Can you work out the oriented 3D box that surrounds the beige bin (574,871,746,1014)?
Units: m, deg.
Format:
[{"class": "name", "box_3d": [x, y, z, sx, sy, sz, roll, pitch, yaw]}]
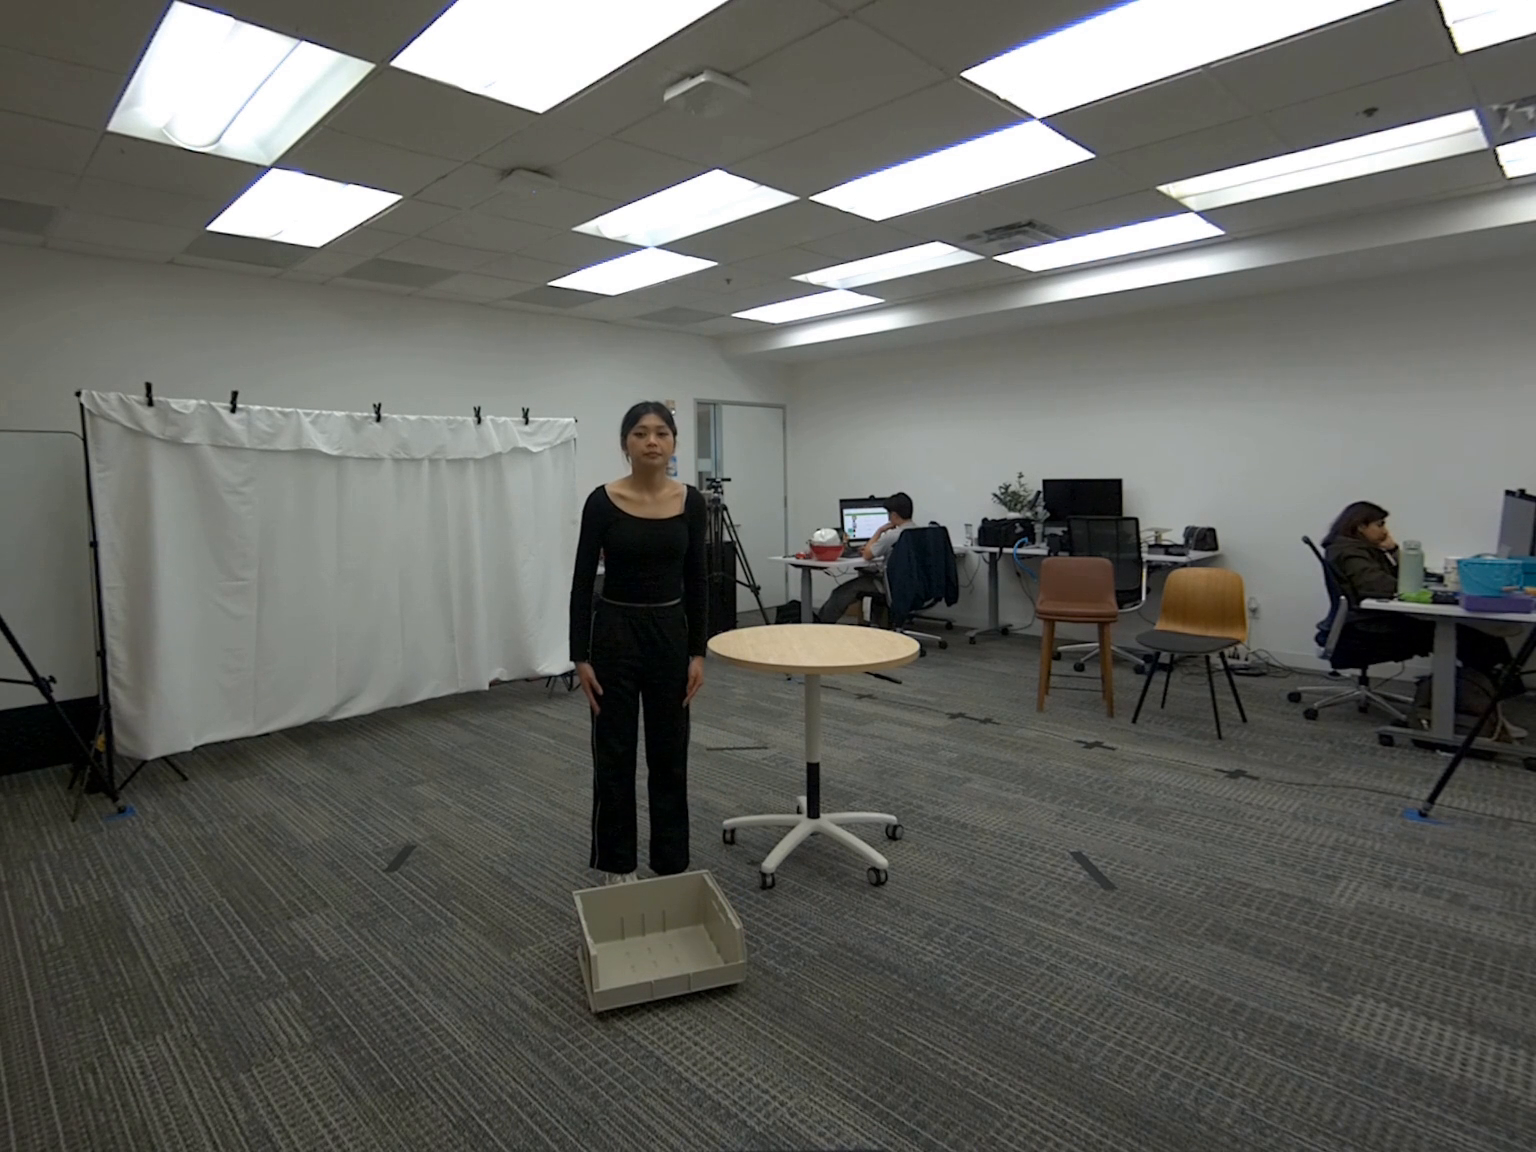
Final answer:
[{"class": "beige bin", "box_3d": [-0.319, 1.032, 2.430, 0.416, 0.188, 0.385, -3, 5, -18]}]
